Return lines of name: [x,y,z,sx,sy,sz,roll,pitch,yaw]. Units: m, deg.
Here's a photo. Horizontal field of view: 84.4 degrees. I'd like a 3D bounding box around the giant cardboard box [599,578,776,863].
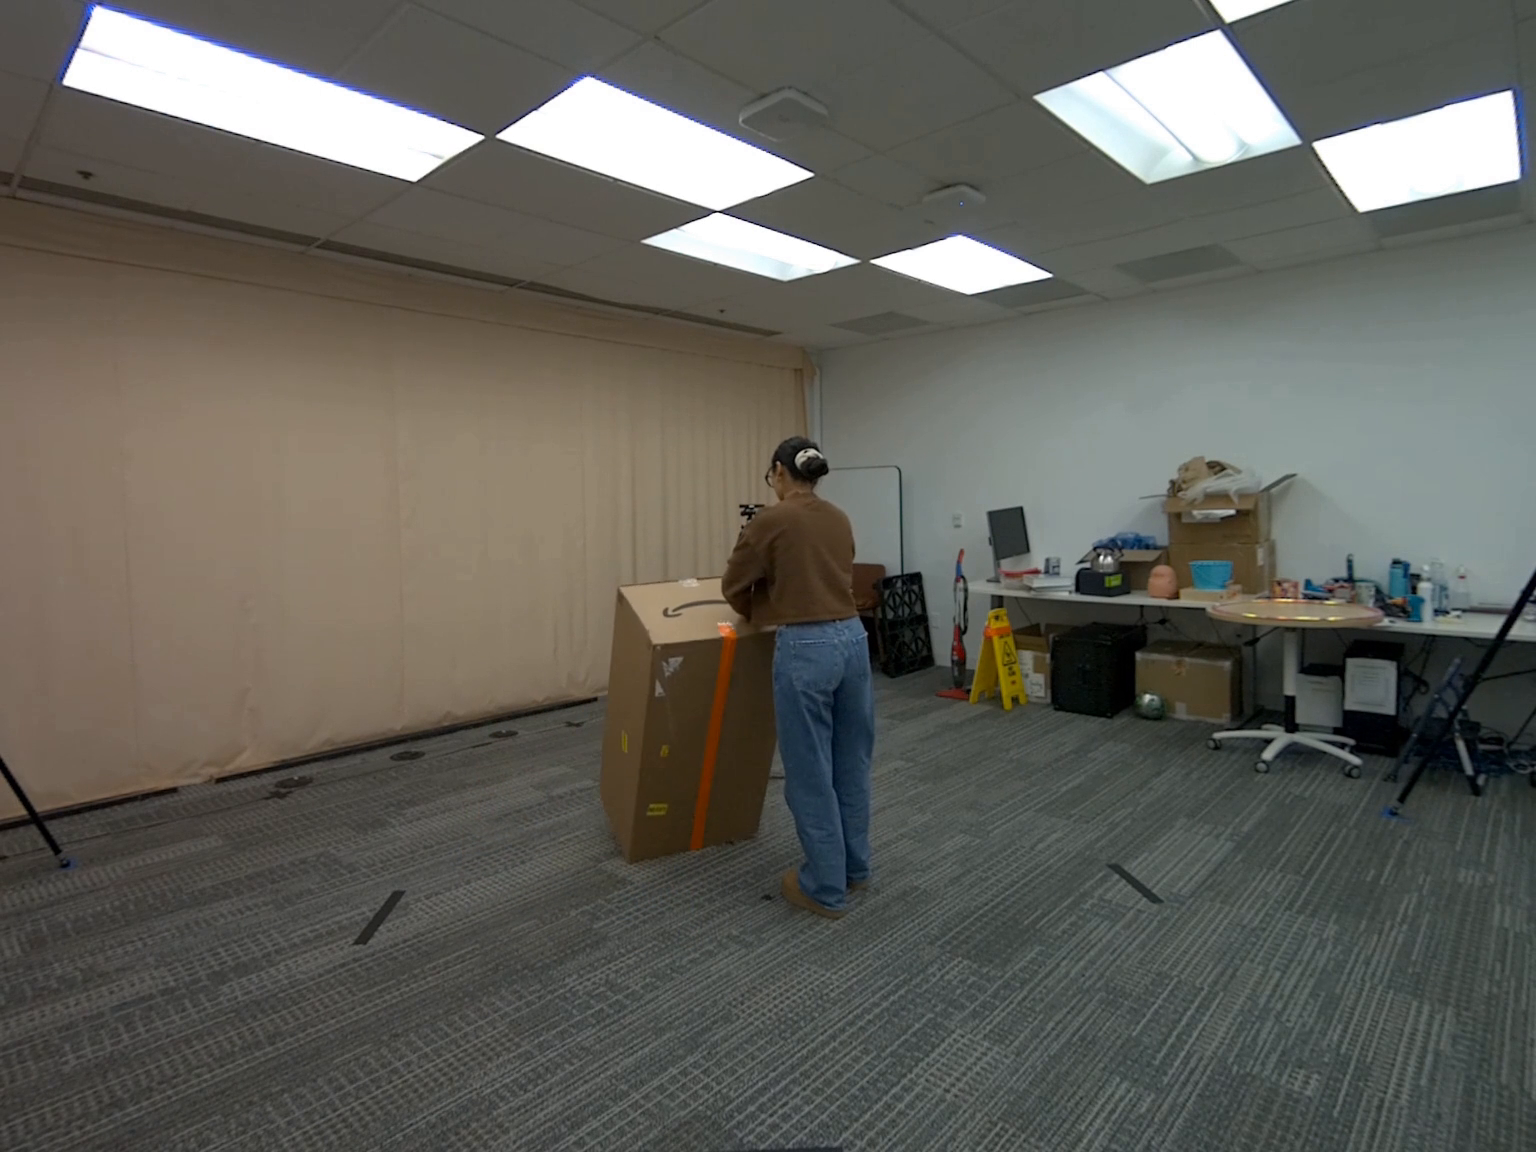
giant cardboard box: [-0.314,0.561,3.367,0.570,1.016,0.462,-5,29,-27]
